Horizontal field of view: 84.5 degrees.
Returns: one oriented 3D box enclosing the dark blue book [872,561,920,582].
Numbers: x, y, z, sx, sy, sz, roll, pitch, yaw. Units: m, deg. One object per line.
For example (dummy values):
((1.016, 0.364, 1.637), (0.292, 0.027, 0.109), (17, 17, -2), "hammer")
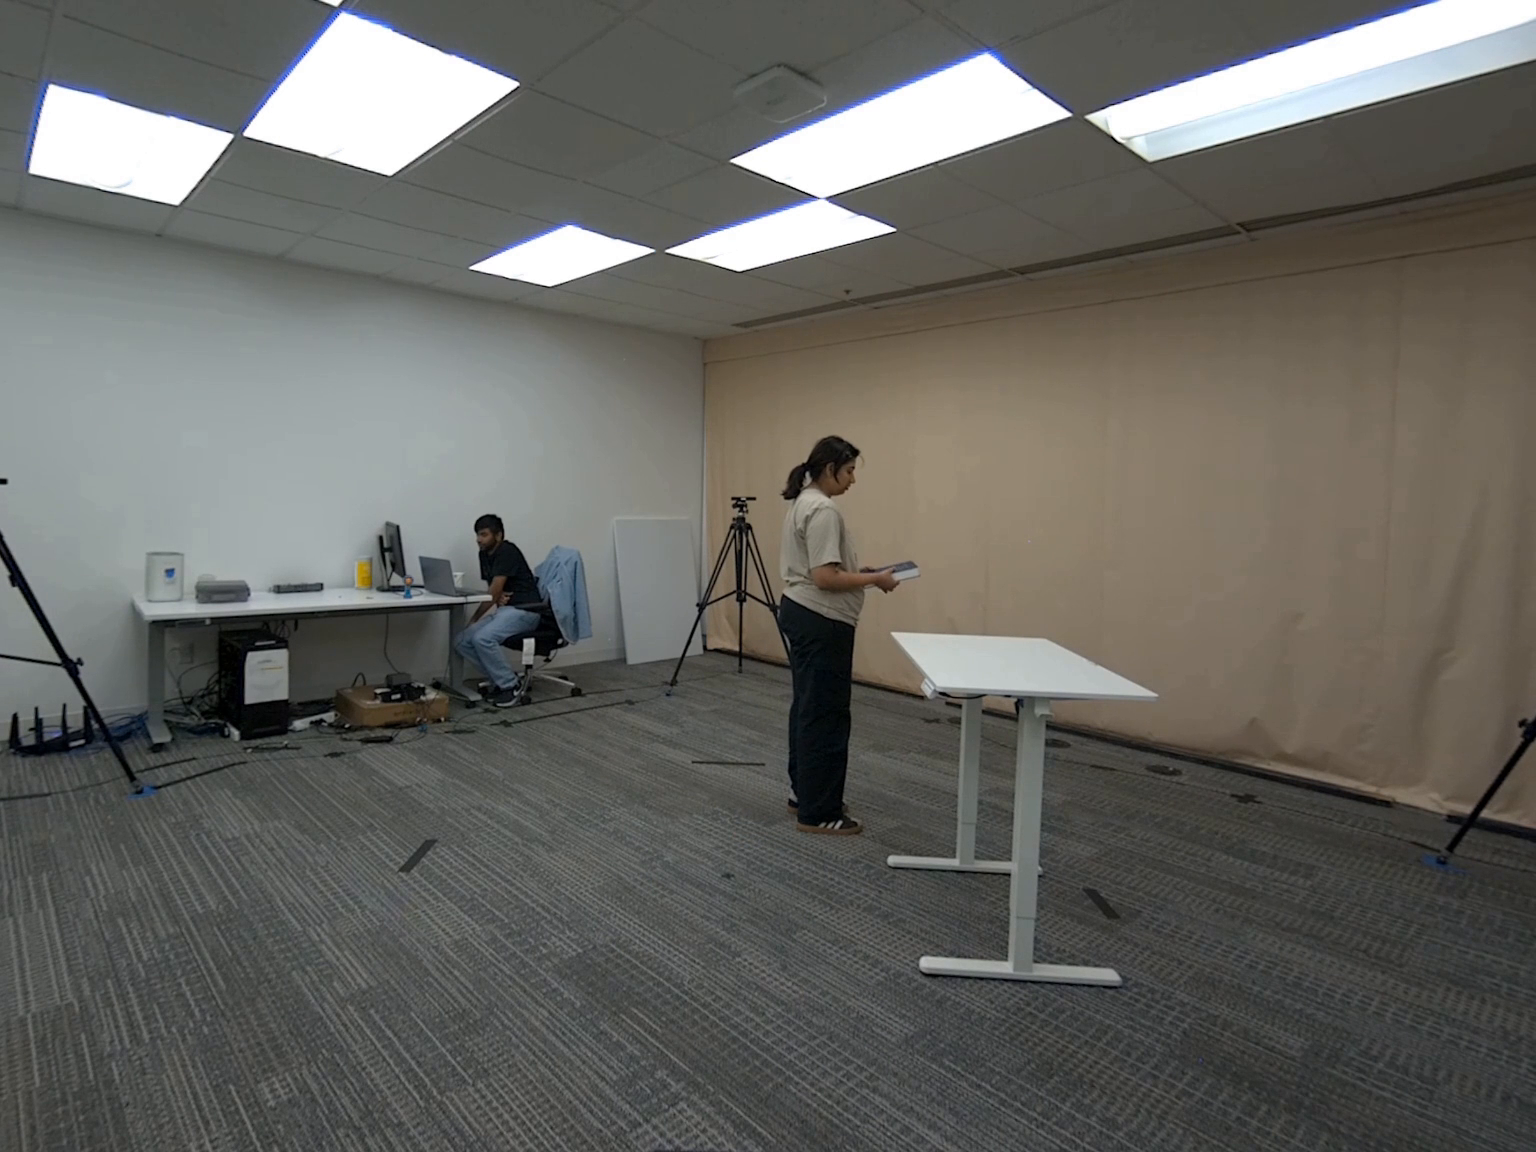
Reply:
((0.512, -0.007, 3.636), (0.246, 0.045, 0.164), (-11, 7, 4), "dark blue book")
